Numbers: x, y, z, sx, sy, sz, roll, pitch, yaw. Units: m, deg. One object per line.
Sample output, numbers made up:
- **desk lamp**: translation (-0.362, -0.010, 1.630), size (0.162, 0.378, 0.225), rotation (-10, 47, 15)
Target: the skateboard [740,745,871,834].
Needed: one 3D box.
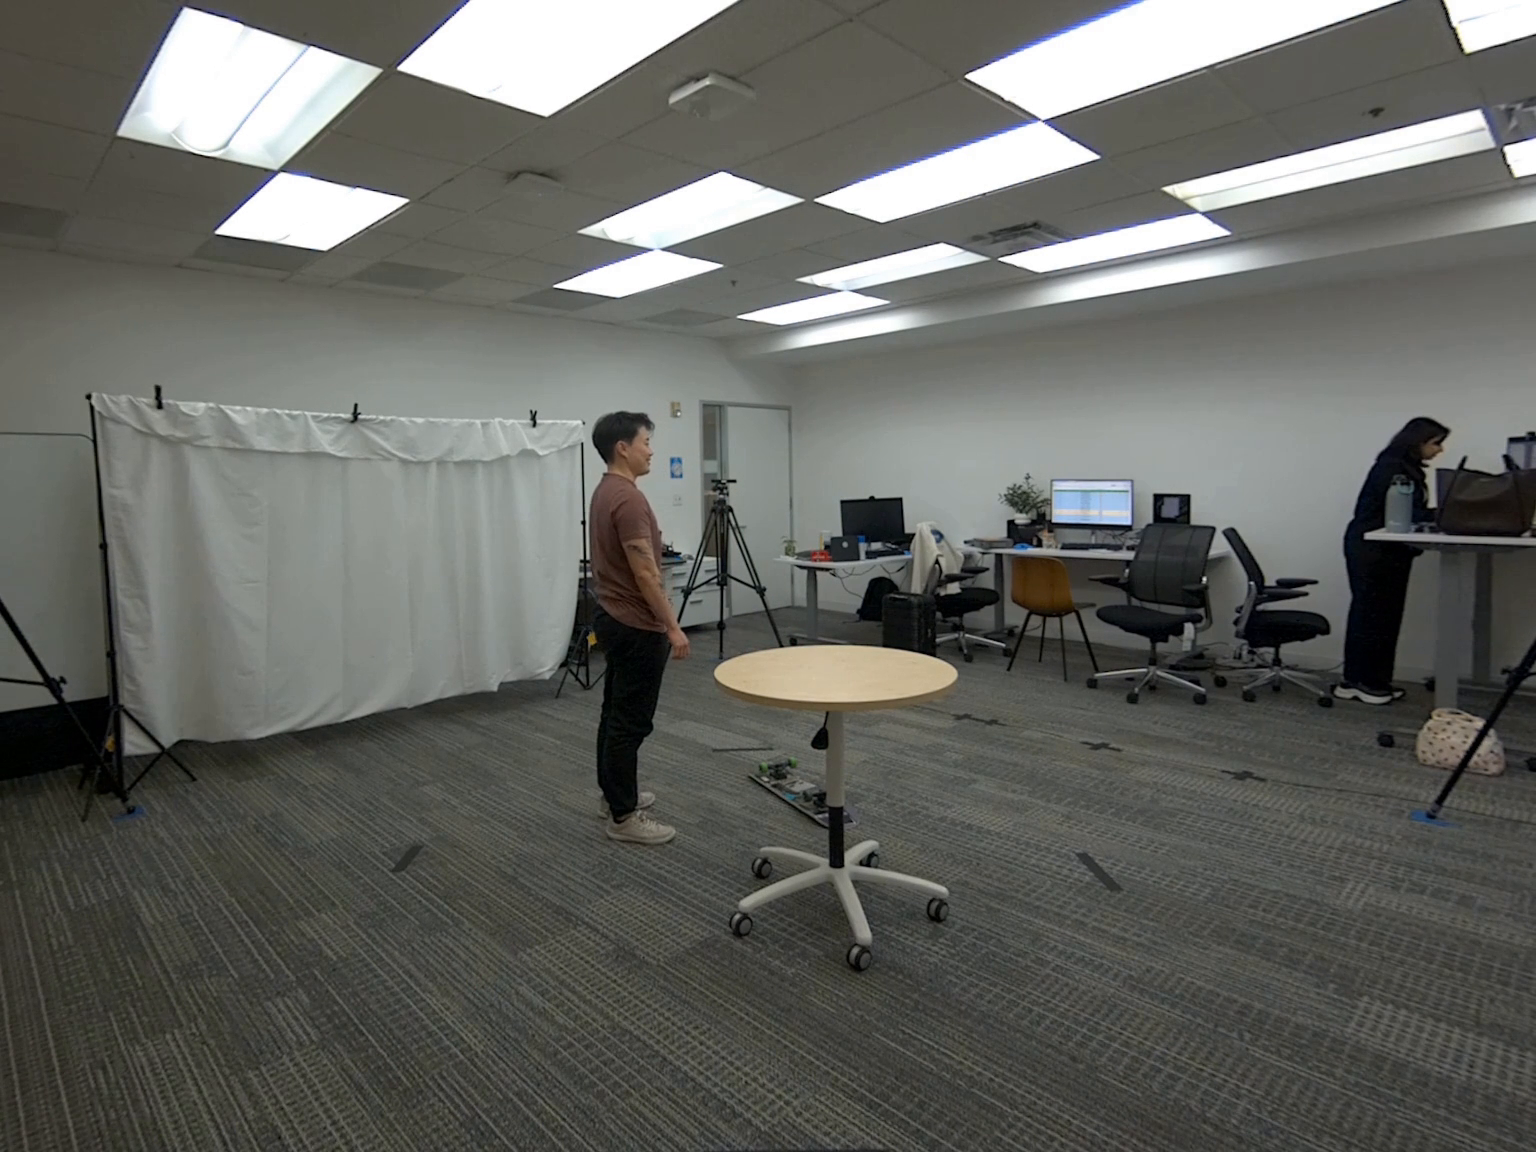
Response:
- **skateboard**: translation (0.137, 0.911, 3.750), size (0.189, 0.110, 0.806), rotation (-4, 7, -27)
